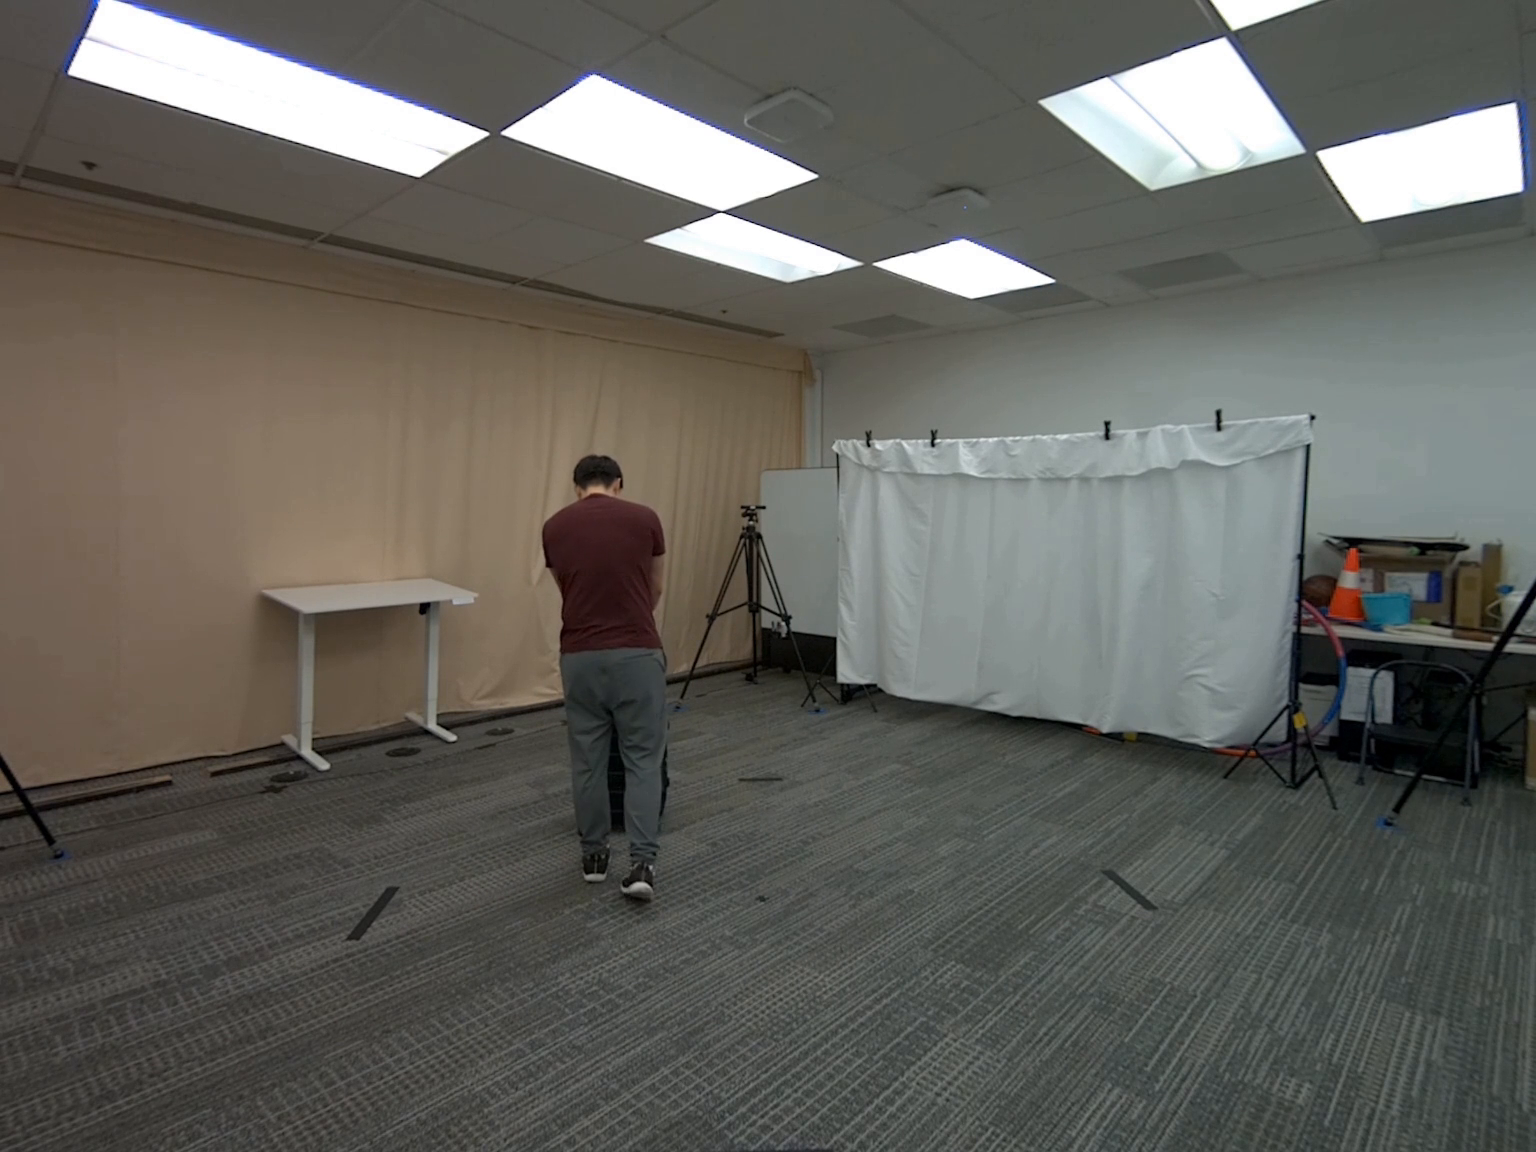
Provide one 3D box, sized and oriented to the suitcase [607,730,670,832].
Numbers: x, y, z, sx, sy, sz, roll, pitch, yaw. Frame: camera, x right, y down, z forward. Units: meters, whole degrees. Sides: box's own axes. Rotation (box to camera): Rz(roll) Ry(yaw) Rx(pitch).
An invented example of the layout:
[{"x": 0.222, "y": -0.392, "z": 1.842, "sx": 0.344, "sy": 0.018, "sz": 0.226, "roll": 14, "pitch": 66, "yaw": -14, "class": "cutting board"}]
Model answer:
[{"x": -0.629, "y": 0.612, "z": 3.684, "sx": 0.385, "sy": 0.979, "sz": 0.257, "roll": 1, "pitch": 0, "yaw": 1, "class": "suitcase"}]
